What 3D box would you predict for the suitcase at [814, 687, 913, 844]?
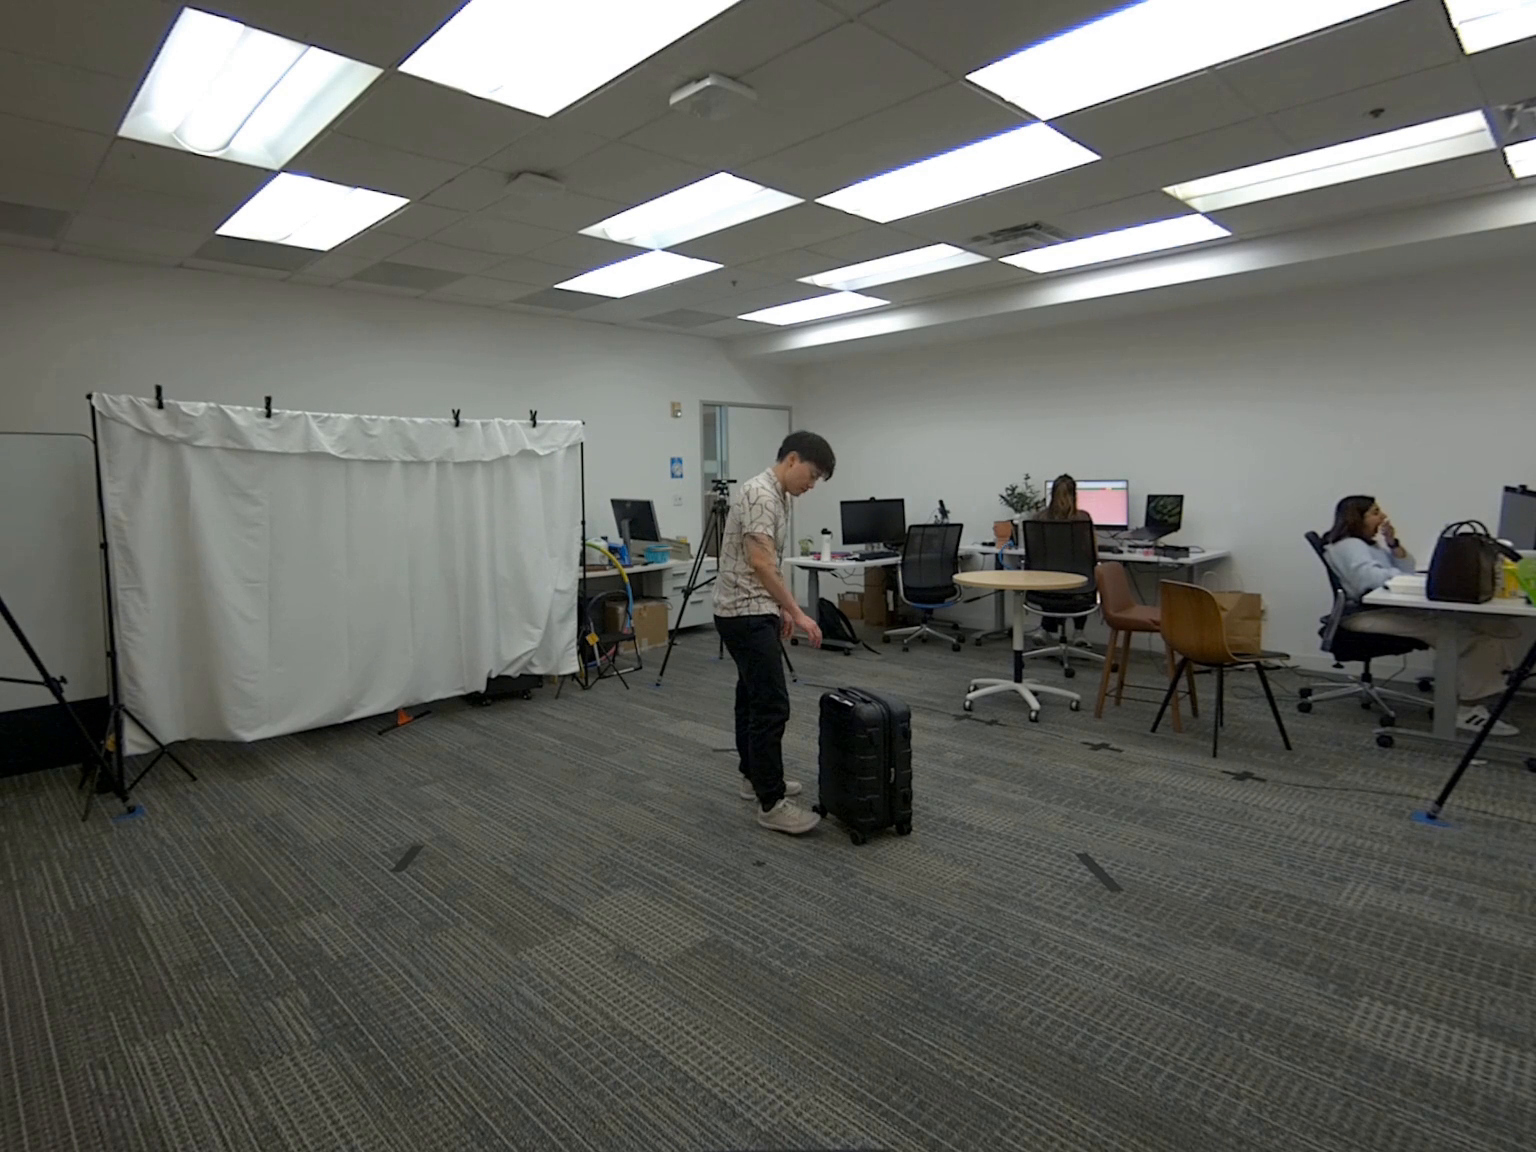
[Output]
[{"bbox_3d":[0.385,0.729,3.413,0.243,0.547,0.385,-3,5,-26],"label":"suitcase"}]
